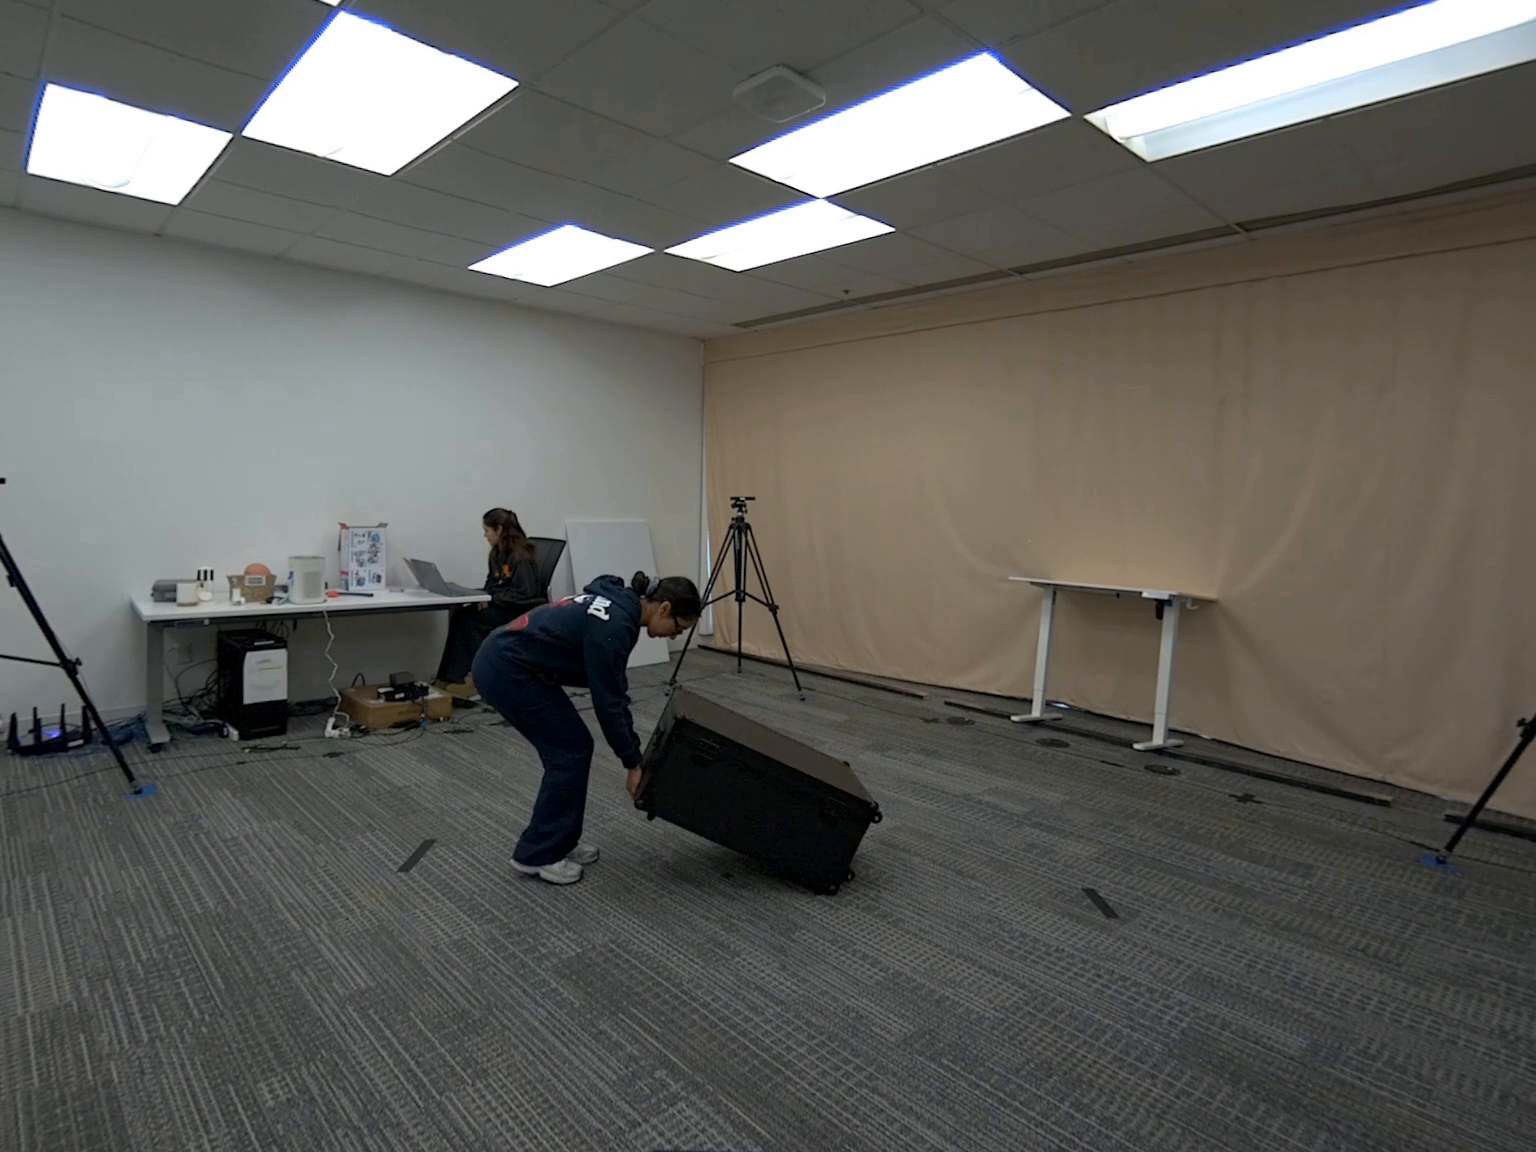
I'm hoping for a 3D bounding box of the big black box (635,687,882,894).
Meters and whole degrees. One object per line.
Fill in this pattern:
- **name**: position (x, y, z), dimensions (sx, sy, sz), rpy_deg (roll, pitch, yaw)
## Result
- **big black box**: position (-0.046, 0.801, 3.162), dimensions (0.856, 0.396, 0.525), rpy_deg (25, 1, -6)
